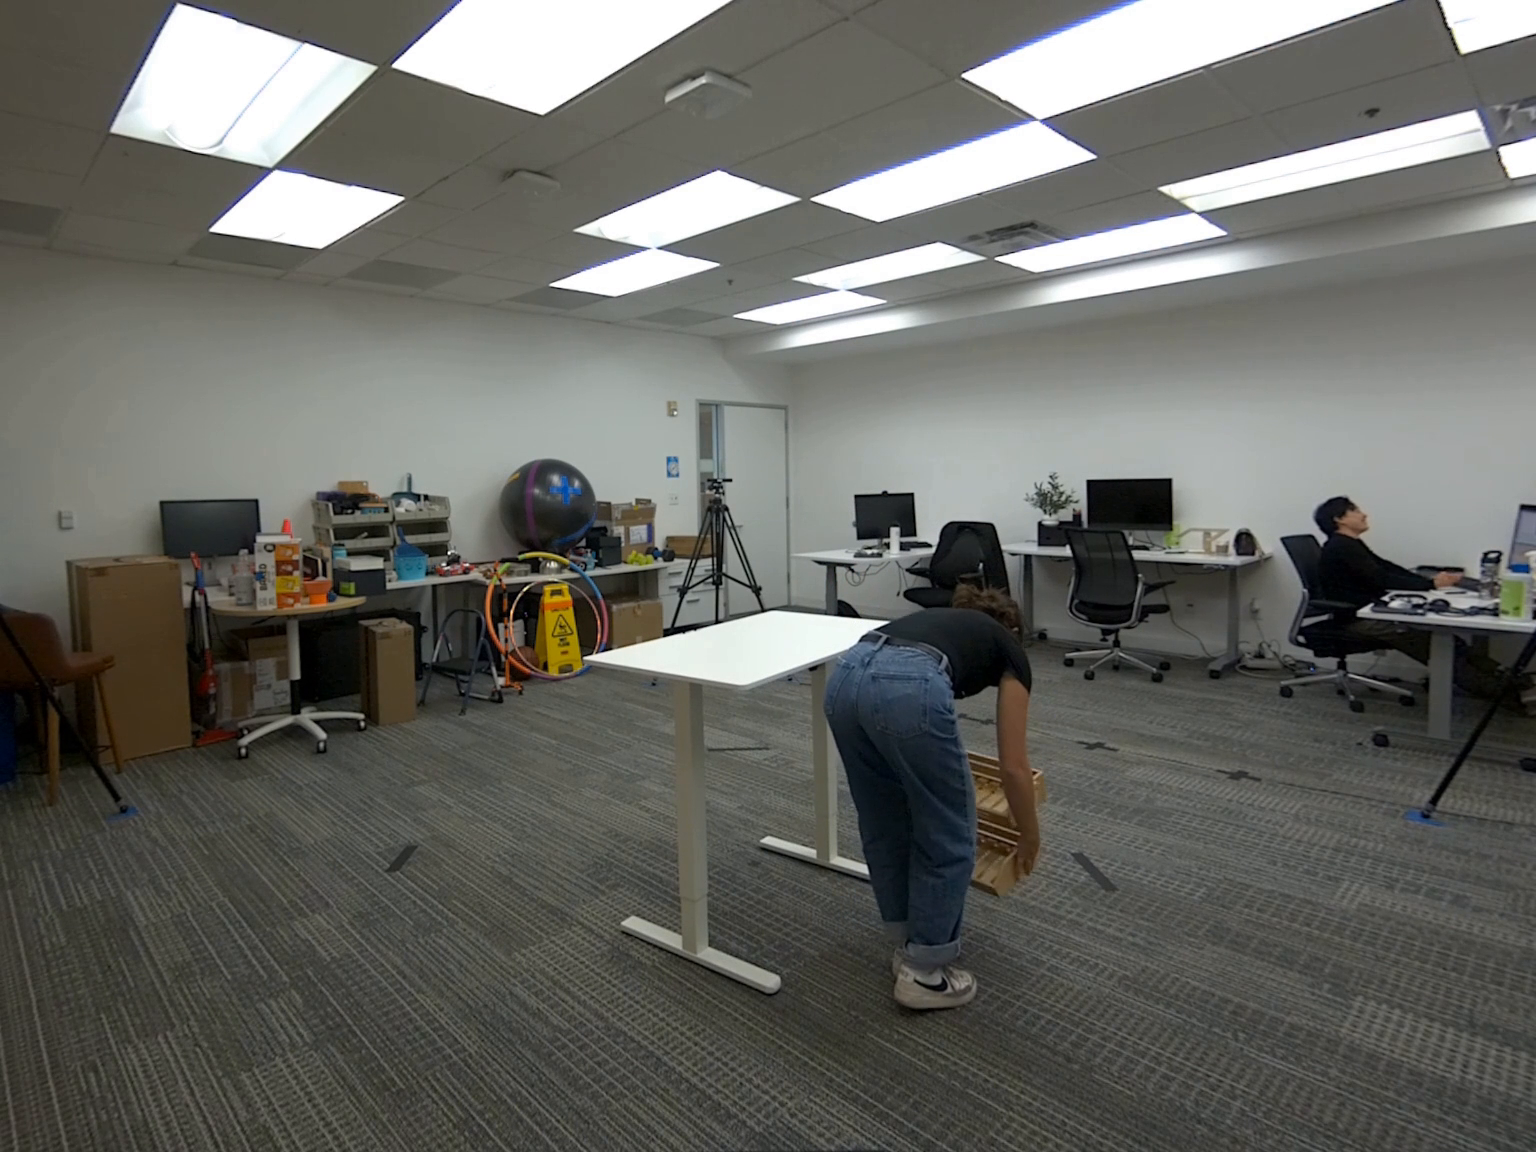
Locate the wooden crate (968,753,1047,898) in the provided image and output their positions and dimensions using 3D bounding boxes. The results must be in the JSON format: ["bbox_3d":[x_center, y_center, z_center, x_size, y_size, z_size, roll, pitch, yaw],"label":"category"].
[{"bbox_3d":[0.628,0.727,2.547,0.296,0.270,0.334,-20,17,-41],"label":"wooden crate"}]
